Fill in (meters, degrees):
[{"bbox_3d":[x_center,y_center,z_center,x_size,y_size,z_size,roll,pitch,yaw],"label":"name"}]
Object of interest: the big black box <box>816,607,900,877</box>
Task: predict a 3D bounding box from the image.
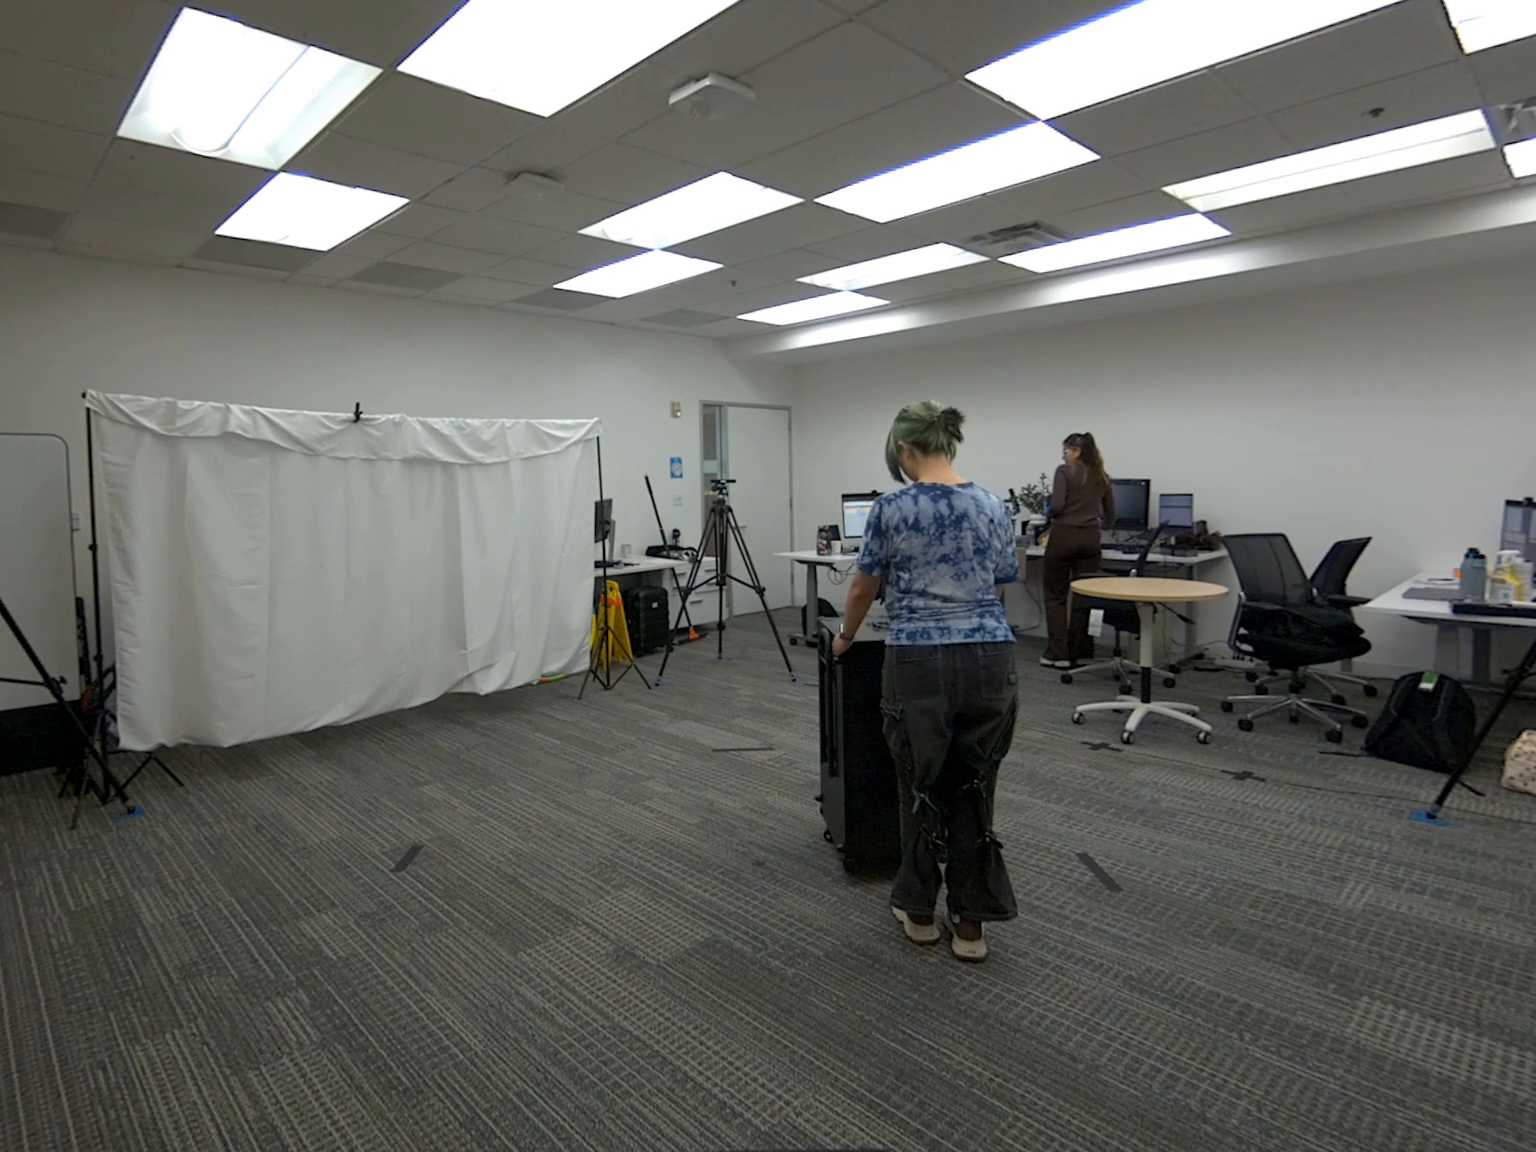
[{"bbox_3d":[0.396,0.617,3.132,0.395,0.858,0.526,-2,5,-5],"label":"big black box"}]
